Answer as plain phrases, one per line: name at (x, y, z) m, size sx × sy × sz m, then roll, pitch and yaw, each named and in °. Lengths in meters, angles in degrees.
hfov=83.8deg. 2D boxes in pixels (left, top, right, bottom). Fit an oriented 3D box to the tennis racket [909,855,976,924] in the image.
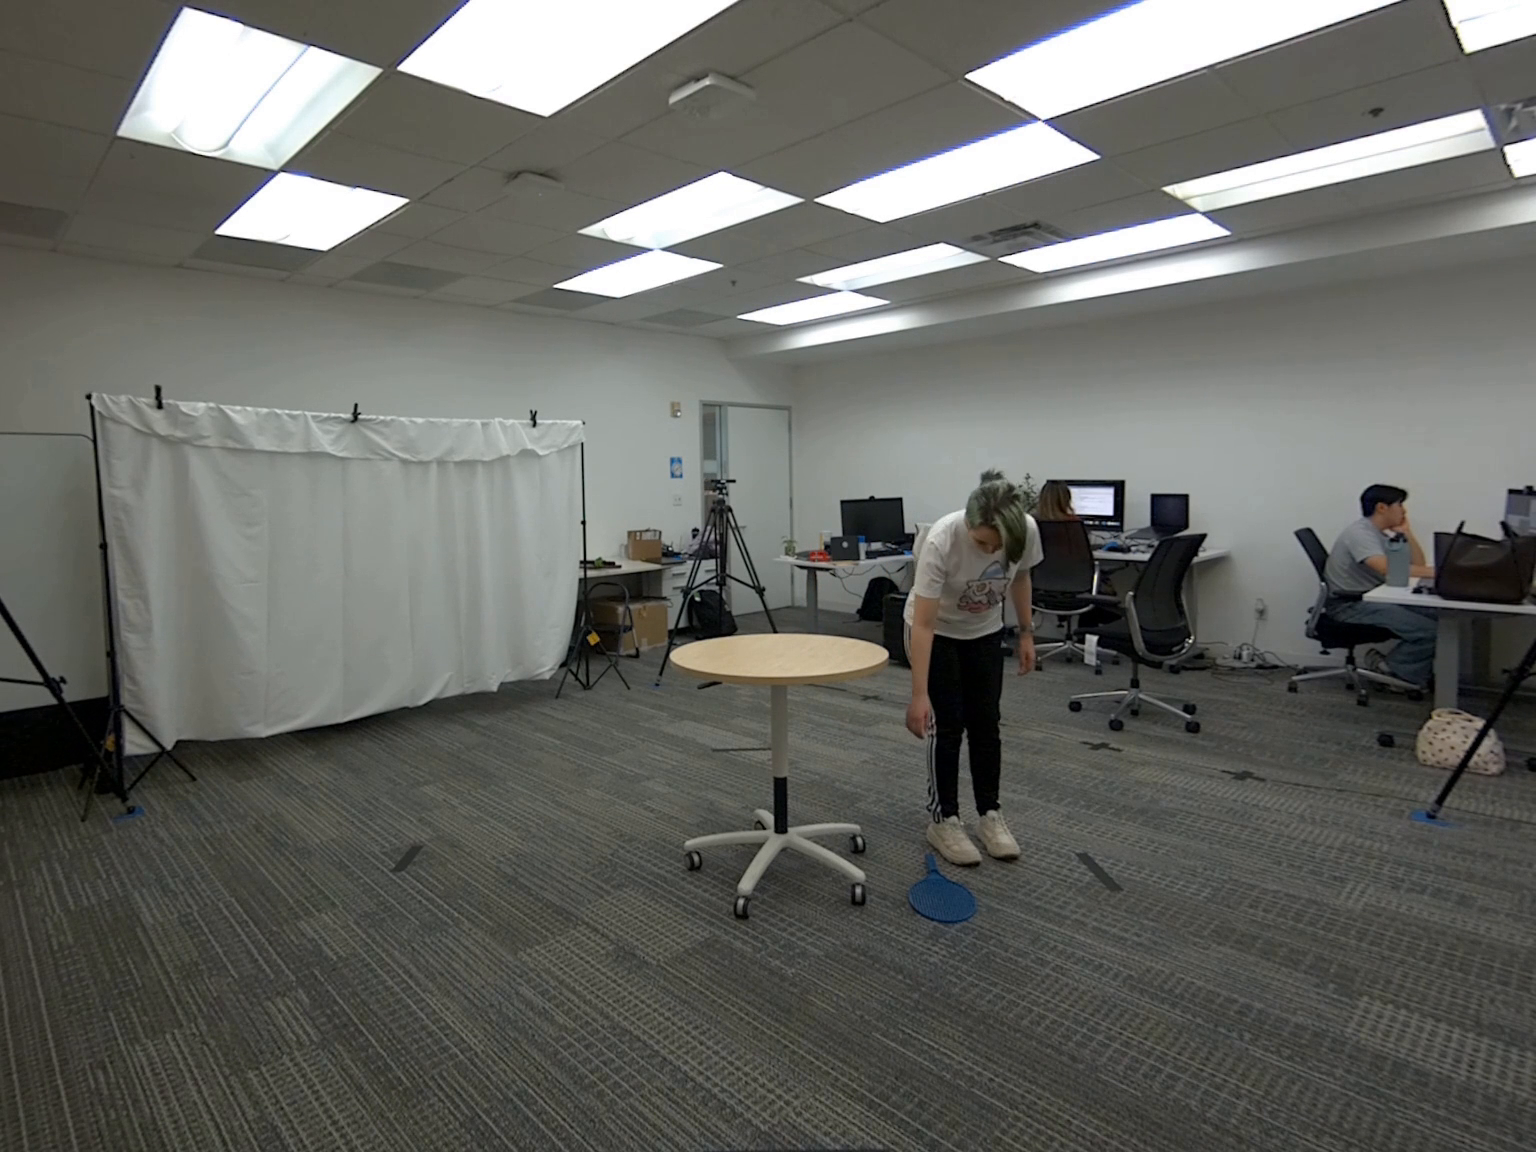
tennis racket at (0.573, 1.046, 2.884) m, size 0.214 × 0.031 × 0.434 m, roll -1°, pitch 8°, yaw 3°
